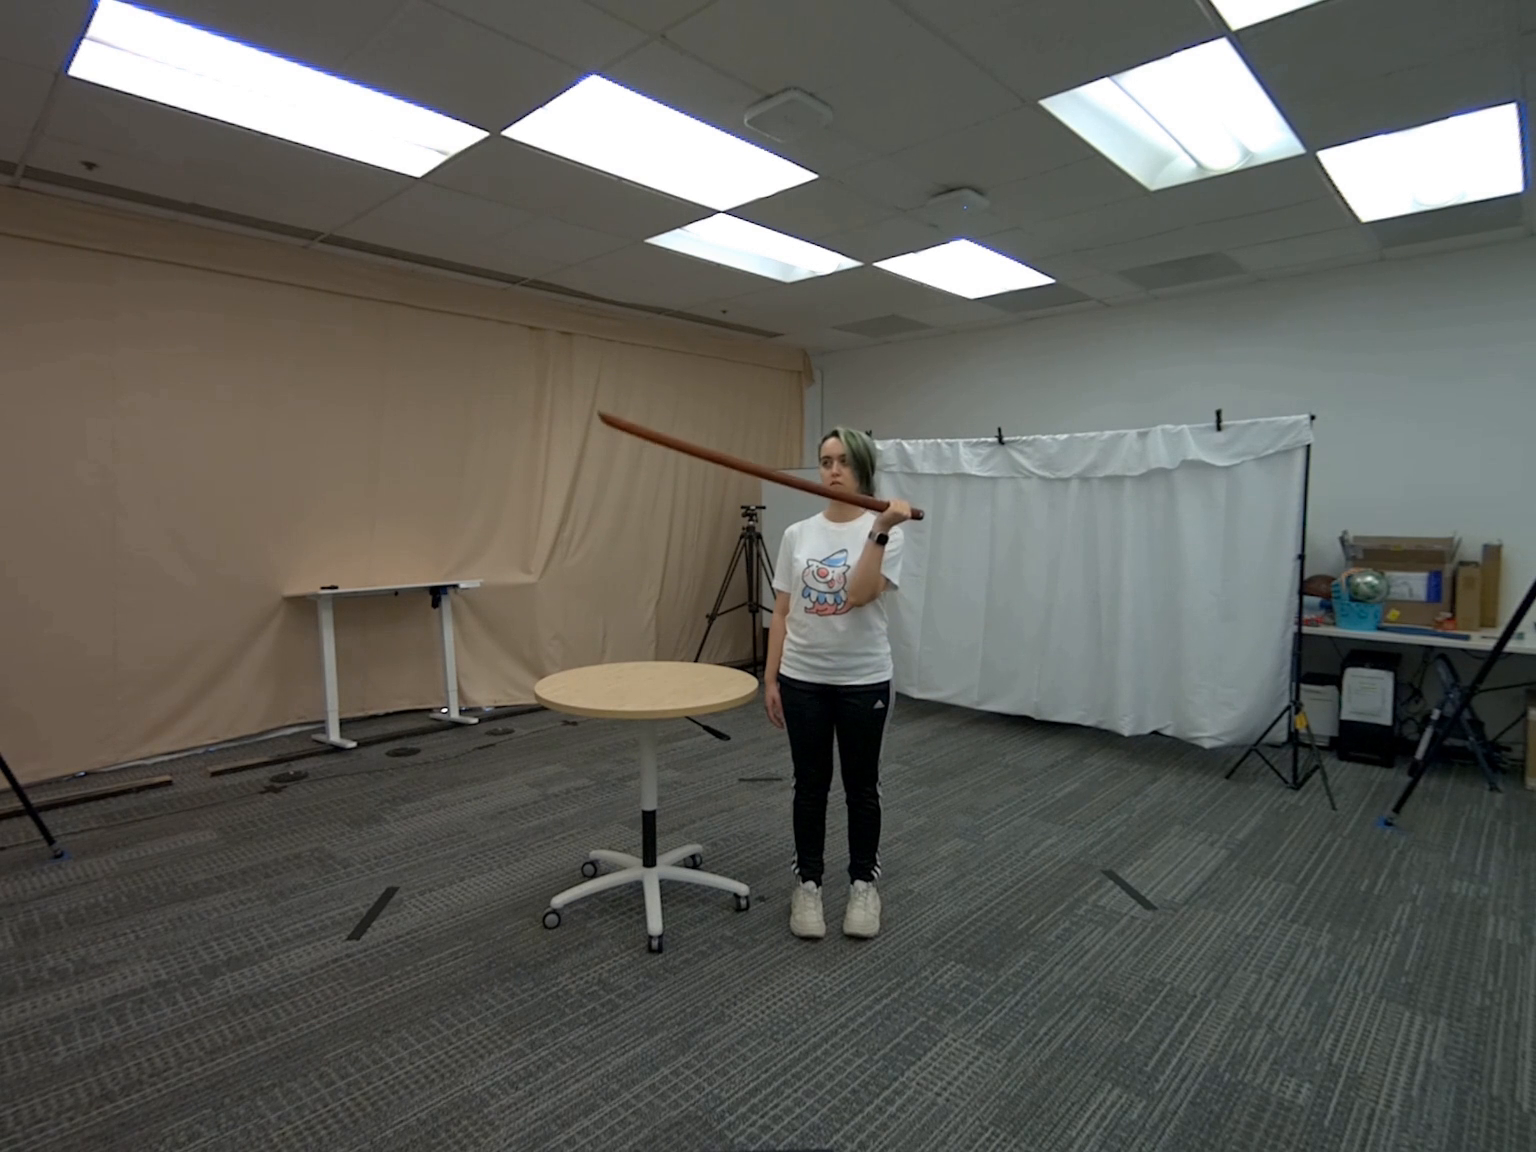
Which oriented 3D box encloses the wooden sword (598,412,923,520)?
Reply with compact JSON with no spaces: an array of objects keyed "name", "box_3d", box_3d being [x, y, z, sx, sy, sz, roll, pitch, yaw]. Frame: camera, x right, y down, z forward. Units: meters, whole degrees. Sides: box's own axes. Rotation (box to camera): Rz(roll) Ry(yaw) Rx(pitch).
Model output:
[{"name":"wooden sword","box_3d":[0.007,-0.277,2.345,1.003,0.051,0.025,15,16,-19]}]
